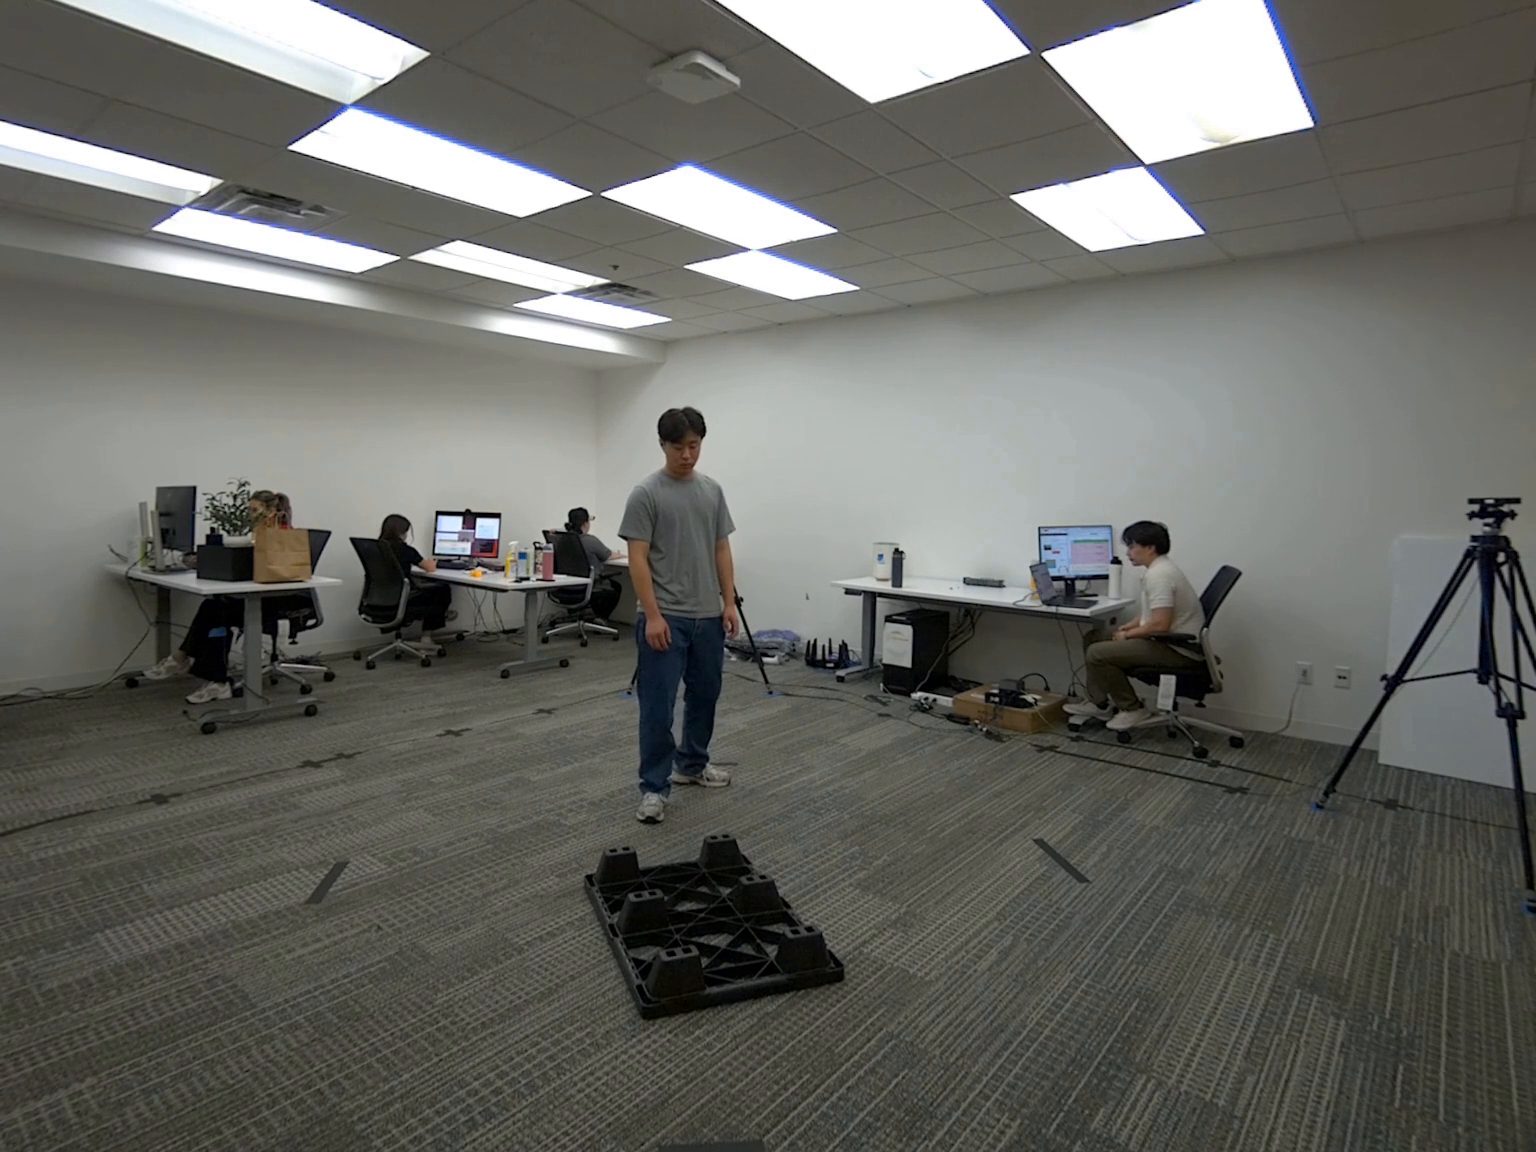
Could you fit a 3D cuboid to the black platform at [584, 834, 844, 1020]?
[{"bbox_3d":[-0.210,1.038,2.680,0.592,0.143,0.827,-2,7,-23],"label":"black platform"}]
